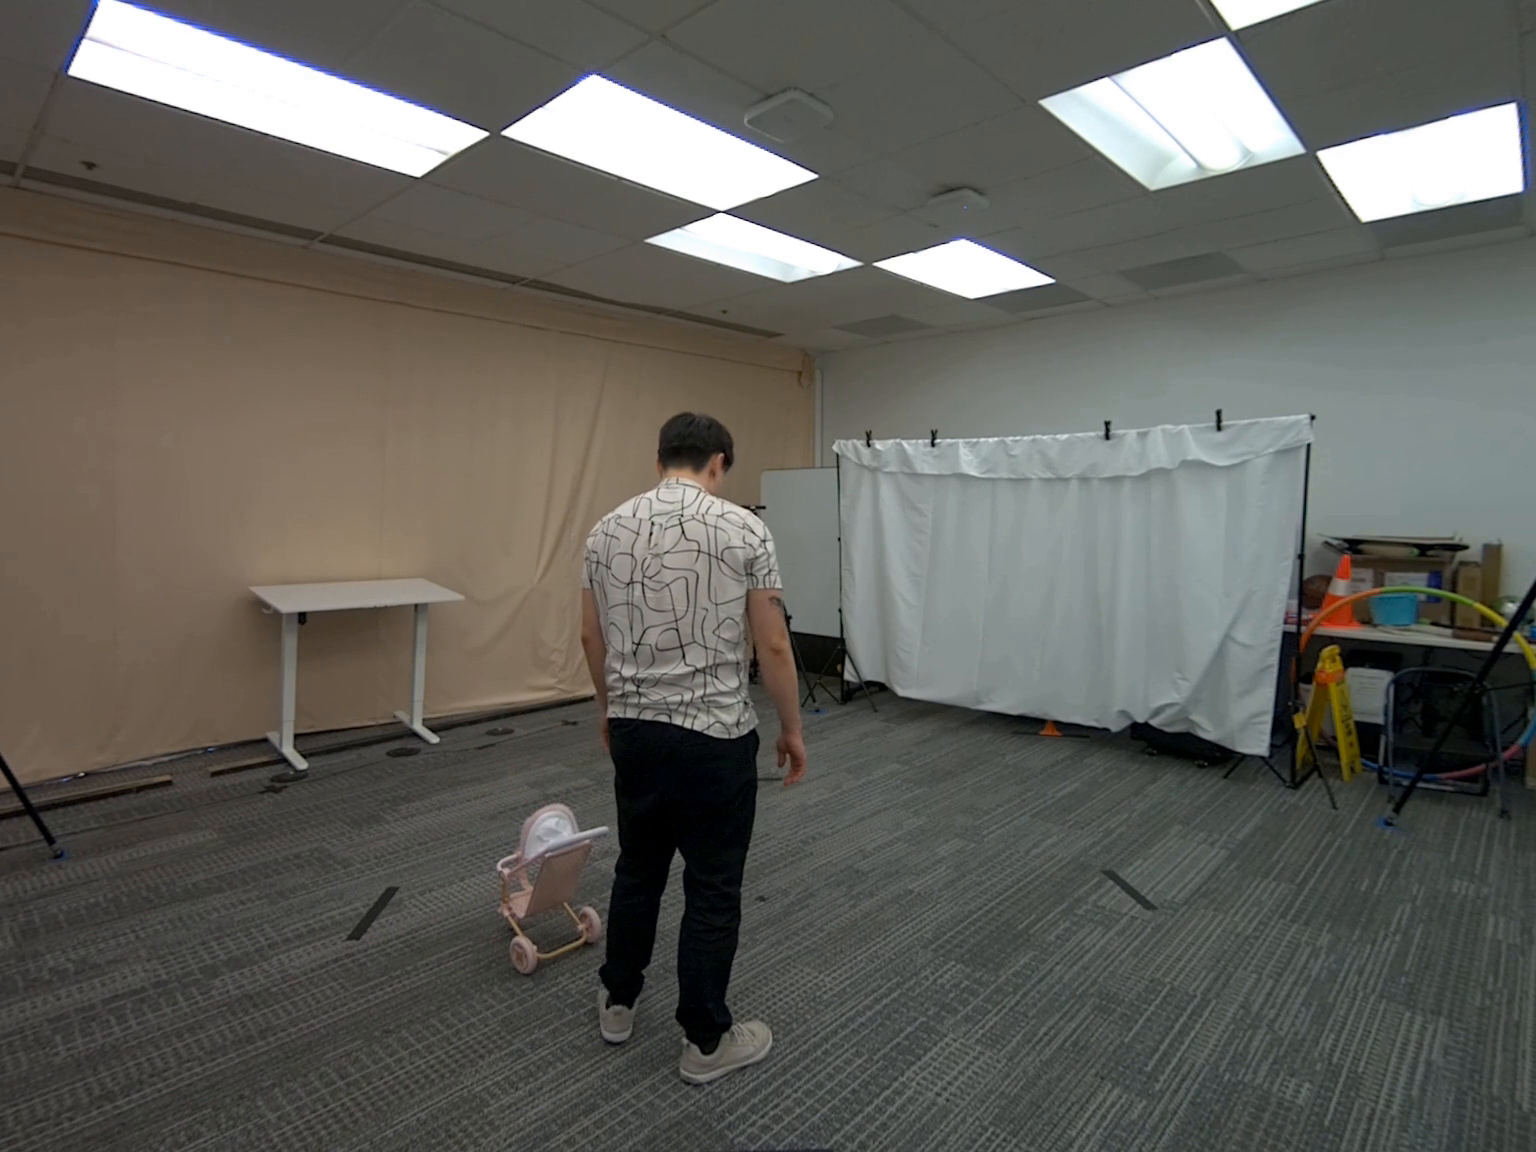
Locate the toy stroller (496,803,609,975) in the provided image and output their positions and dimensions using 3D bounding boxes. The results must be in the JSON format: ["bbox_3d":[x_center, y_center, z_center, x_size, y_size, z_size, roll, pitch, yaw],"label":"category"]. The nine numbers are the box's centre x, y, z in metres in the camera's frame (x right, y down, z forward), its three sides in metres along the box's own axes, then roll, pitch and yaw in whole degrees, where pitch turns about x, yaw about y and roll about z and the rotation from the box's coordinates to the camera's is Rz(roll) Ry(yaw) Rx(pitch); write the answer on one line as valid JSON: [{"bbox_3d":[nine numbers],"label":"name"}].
[{"bbox_3d":[-0.699,0.954,2.642,0.273,0.532,0.354,-2,19,-44],"label":"toy stroller"}]
